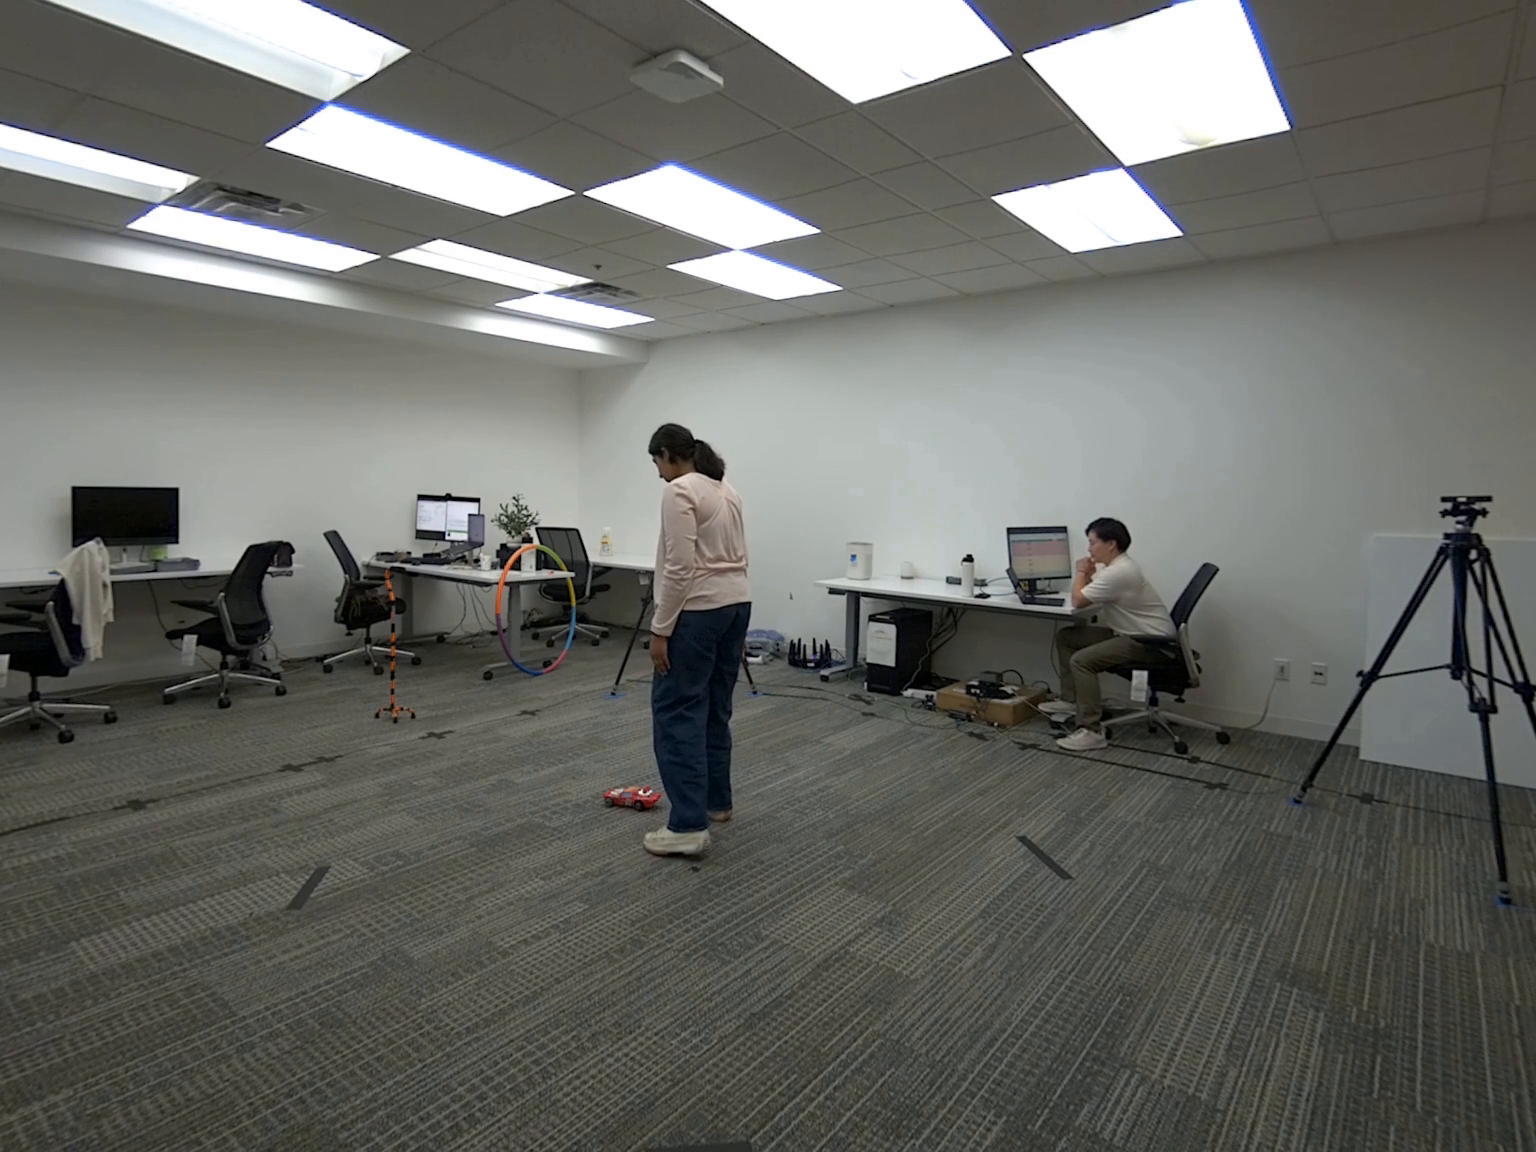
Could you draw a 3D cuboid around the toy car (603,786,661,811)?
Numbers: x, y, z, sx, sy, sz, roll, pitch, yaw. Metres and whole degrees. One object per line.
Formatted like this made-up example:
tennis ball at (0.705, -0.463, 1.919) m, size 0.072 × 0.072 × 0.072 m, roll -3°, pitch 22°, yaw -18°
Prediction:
toy car at (-0.606, 0.973, 3.733) m, size 0.259 × 0.083 × 0.128 m, roll -8°, pitch 2°, yaw 20°
